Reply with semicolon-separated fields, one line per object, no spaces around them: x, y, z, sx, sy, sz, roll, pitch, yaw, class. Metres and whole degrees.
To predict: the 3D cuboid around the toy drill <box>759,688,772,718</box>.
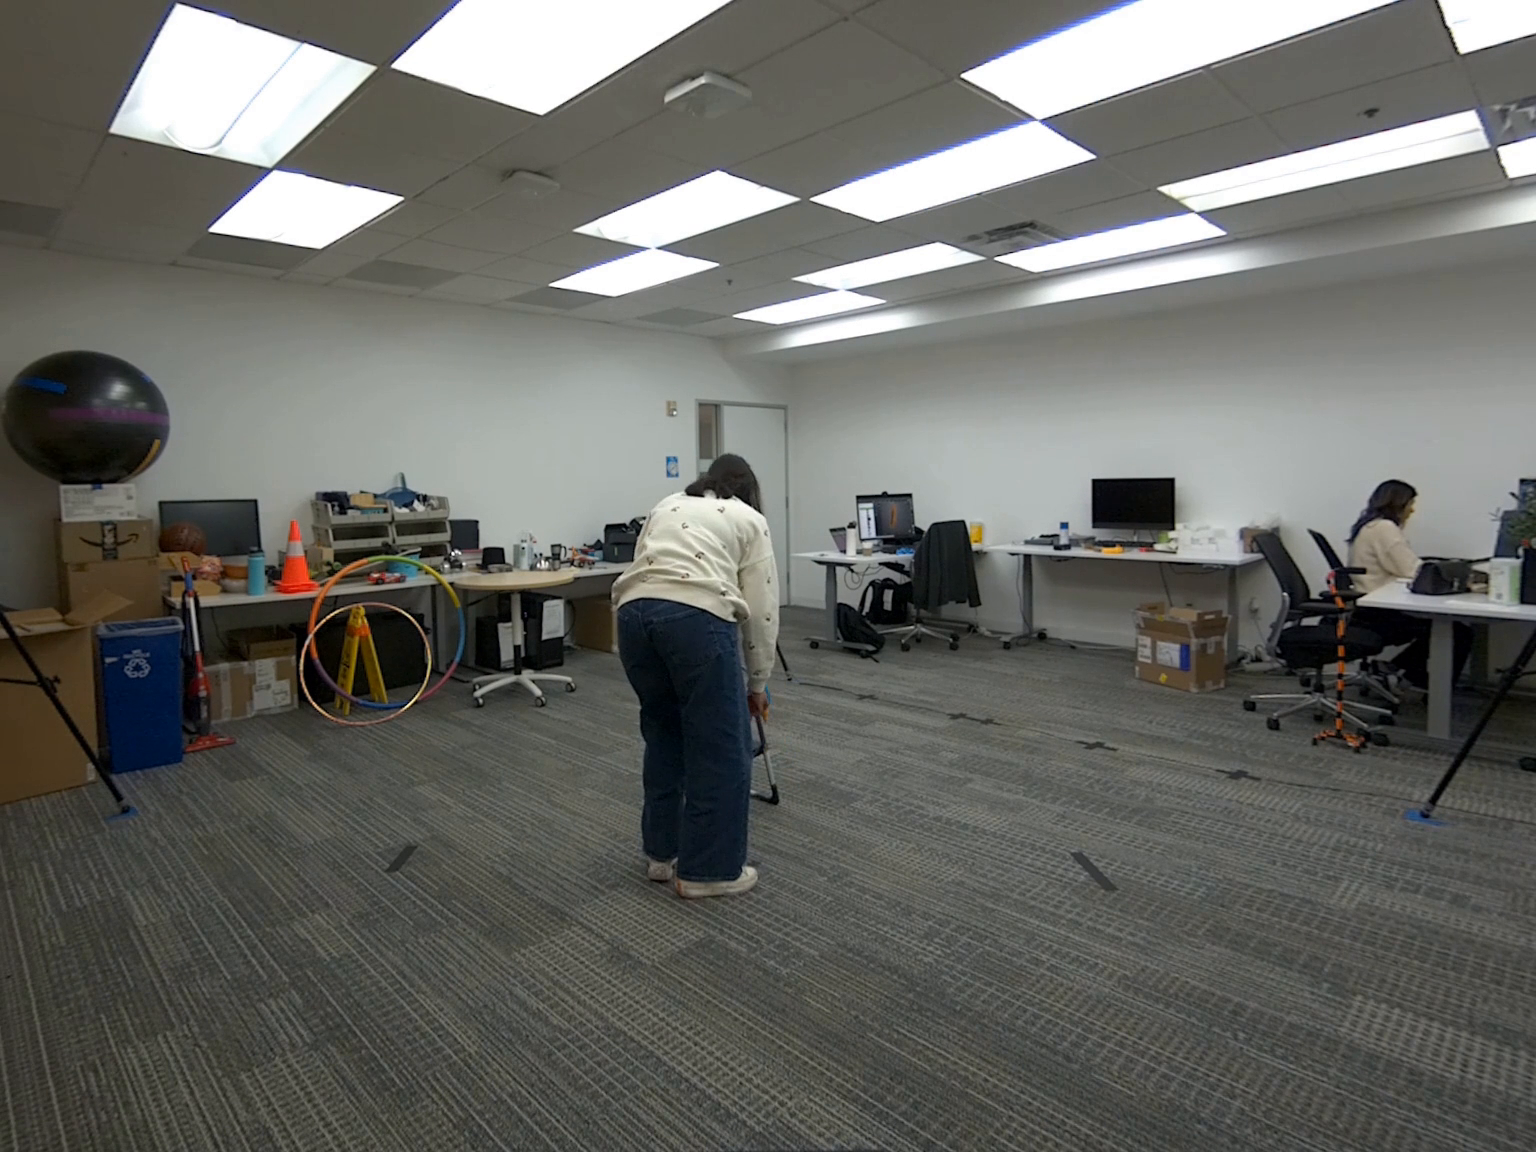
-0.039;0.480;3.159;0.143;0.168;0.063;-12;13;-29;toy drill
